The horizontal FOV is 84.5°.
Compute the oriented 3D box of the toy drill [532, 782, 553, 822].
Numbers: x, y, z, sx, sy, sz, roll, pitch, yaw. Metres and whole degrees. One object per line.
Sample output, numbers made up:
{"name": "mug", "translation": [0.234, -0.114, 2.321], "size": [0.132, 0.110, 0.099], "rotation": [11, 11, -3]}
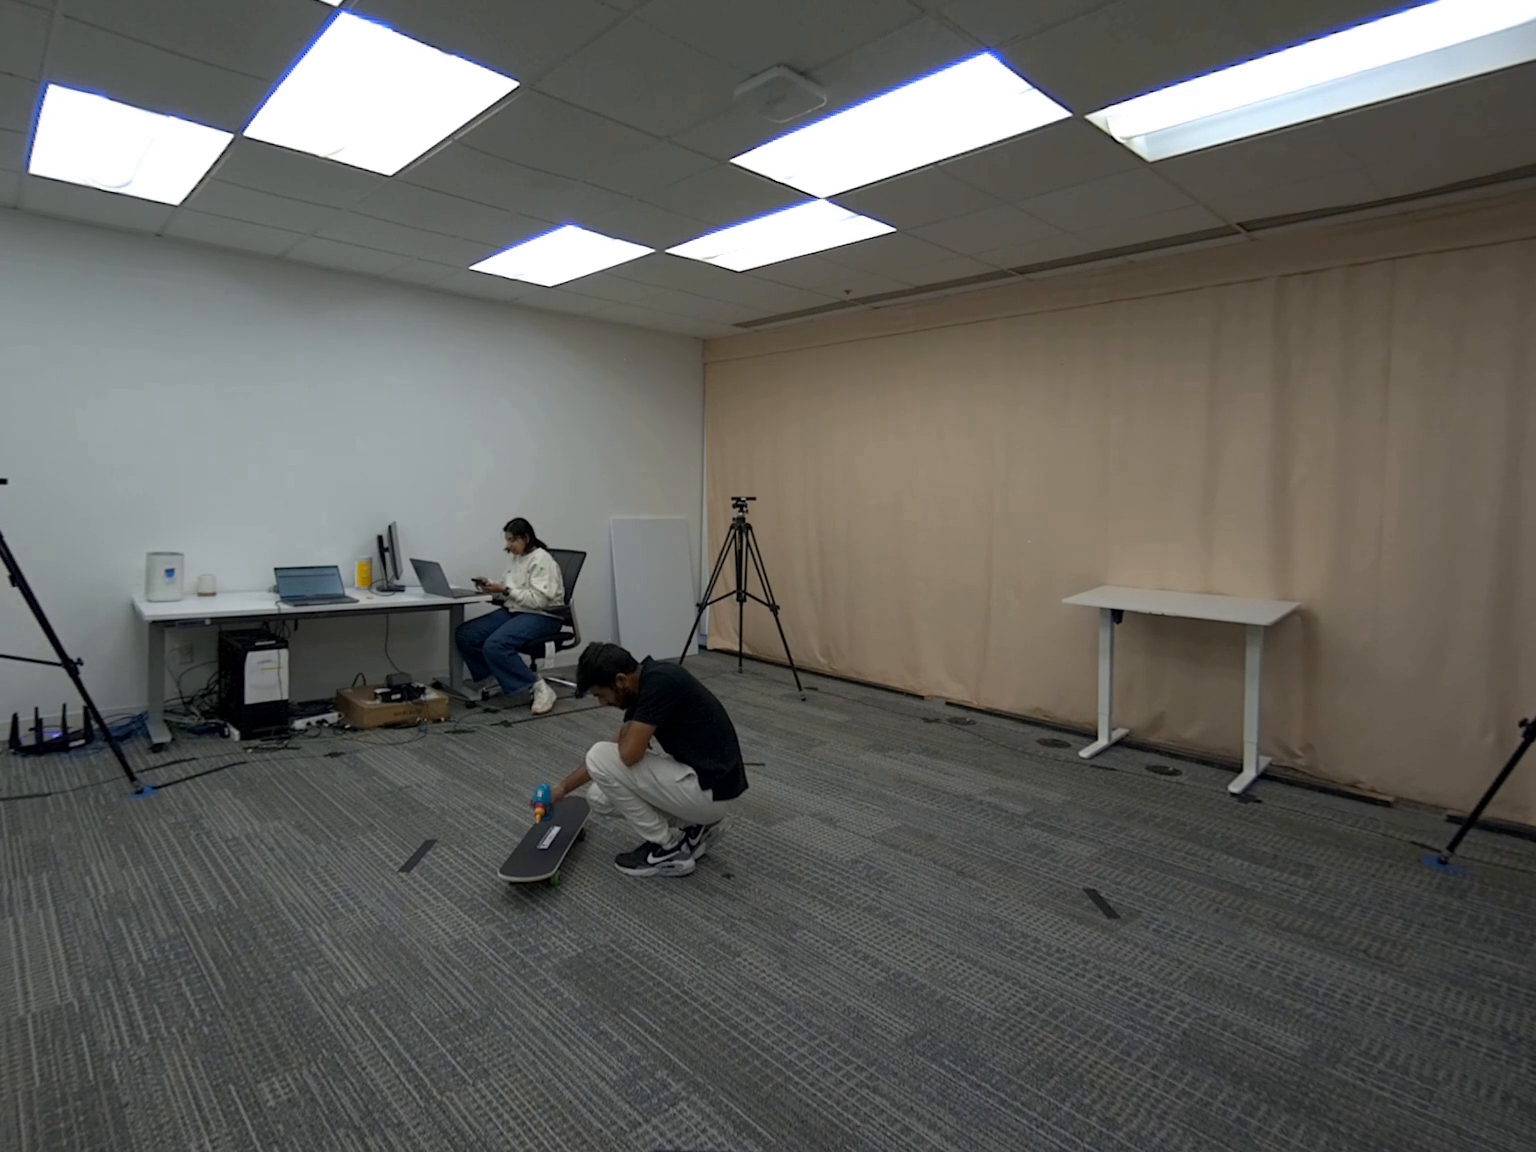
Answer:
{"name": "toy drill", "translation": [-0.838, 0.851, 3.109], "size": [0.061, 0.143, 0.173], "rotation": [2, 39, 2]}
